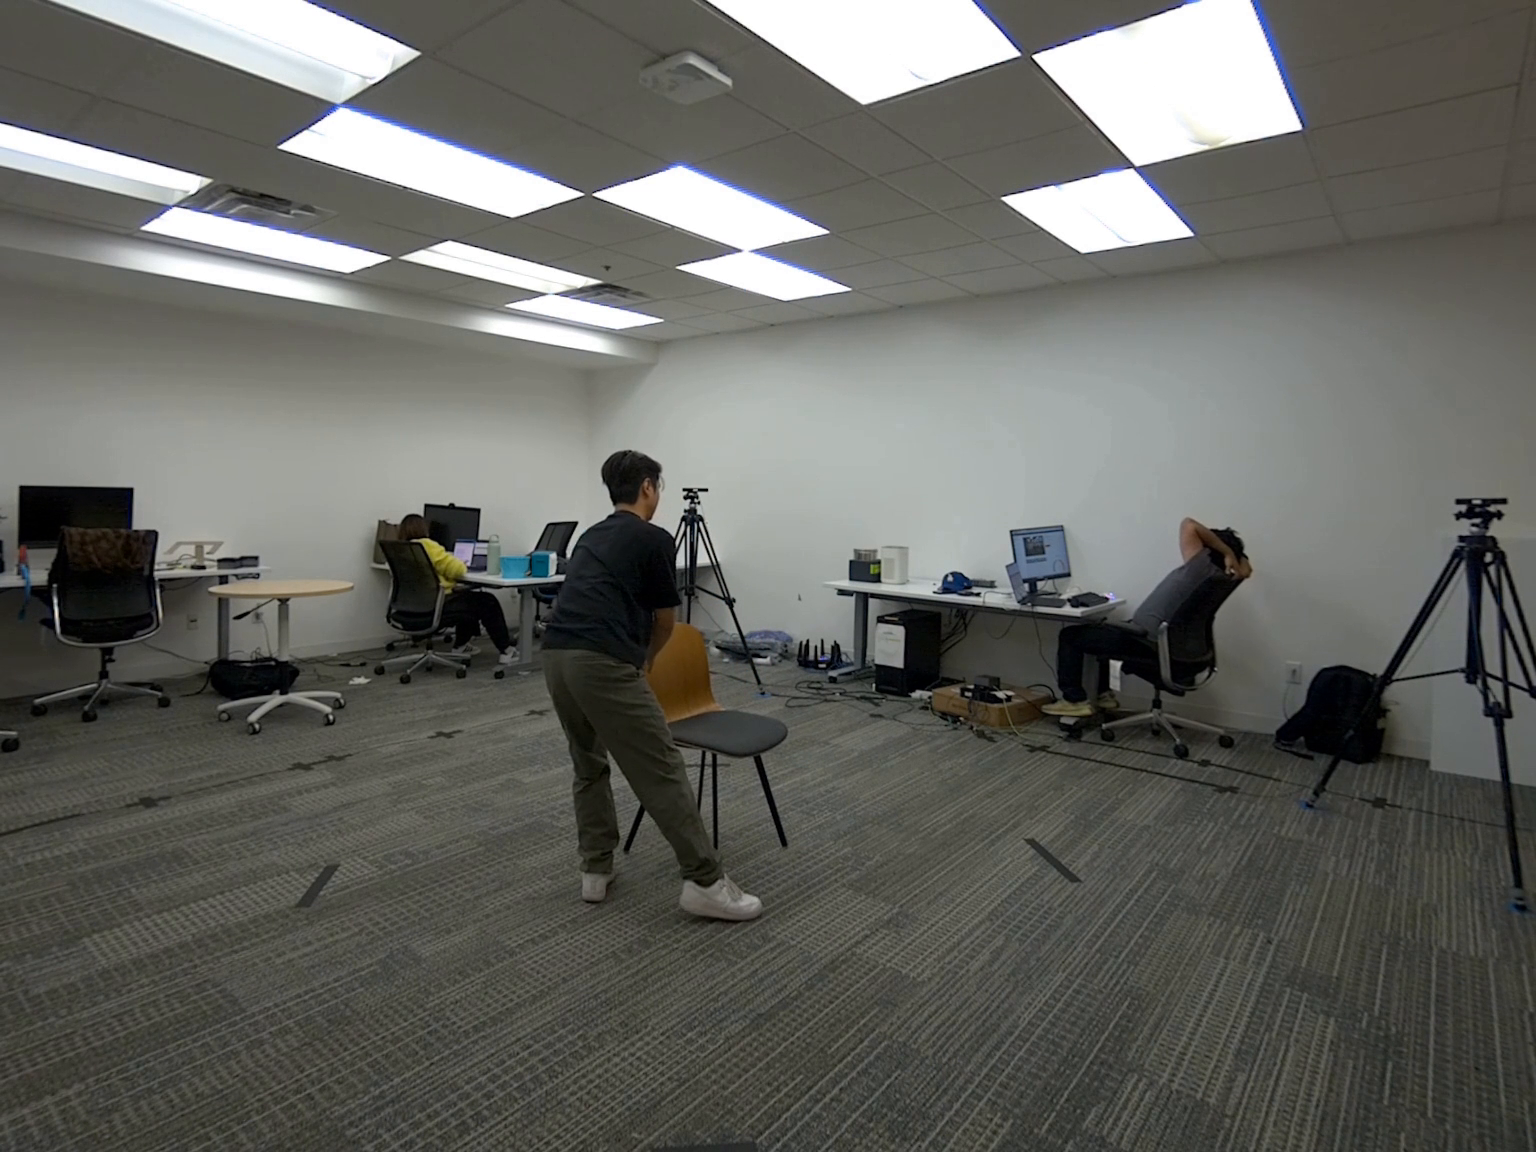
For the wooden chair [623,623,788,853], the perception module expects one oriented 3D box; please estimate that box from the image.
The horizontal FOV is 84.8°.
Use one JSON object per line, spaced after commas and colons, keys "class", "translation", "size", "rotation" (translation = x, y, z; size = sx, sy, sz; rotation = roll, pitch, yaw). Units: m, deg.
{"class": "wooden chair", "translation": [-0.227, 0.624, 3.261], "size": [0.538, 0.878, 0.464], "rotation": [-2, 0, 36]}
